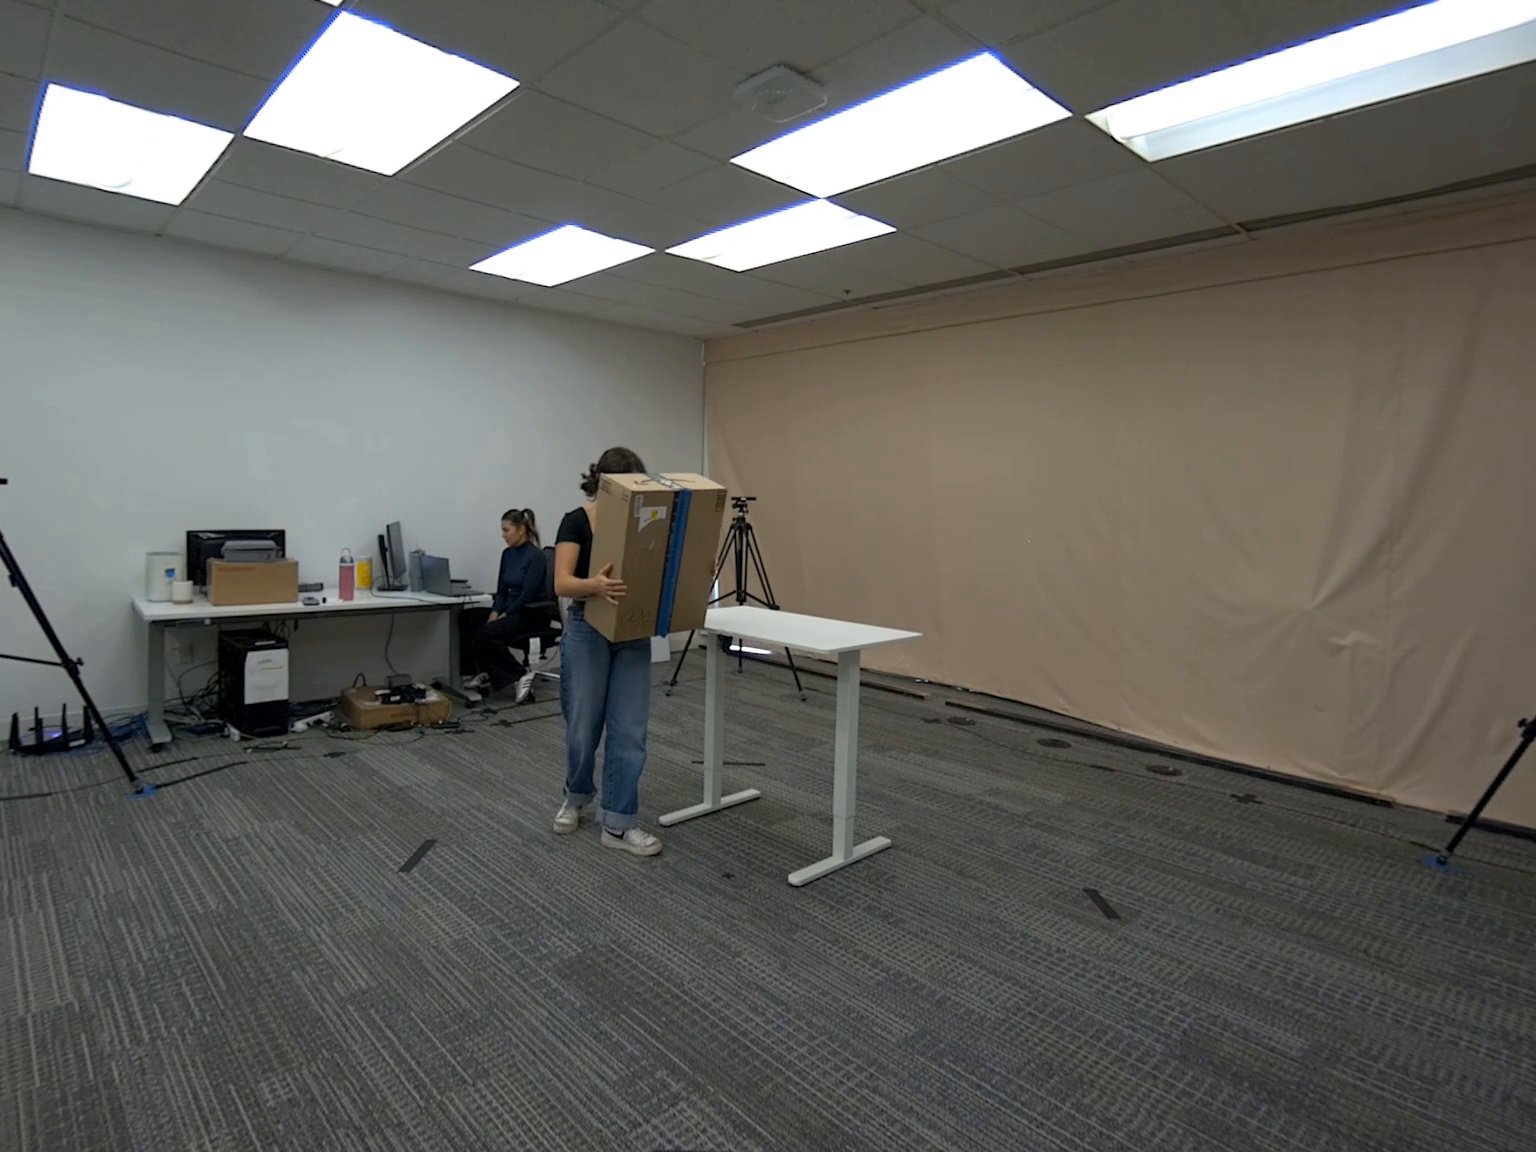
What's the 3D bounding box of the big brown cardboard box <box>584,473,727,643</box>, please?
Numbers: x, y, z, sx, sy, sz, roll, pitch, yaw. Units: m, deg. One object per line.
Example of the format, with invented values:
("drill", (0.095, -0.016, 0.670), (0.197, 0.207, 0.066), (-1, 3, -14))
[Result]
("big brown cardboard box", (-0.422, -0.083, 3.097), (0.409, 0.582, 0.240), (-7, 26, -40))
